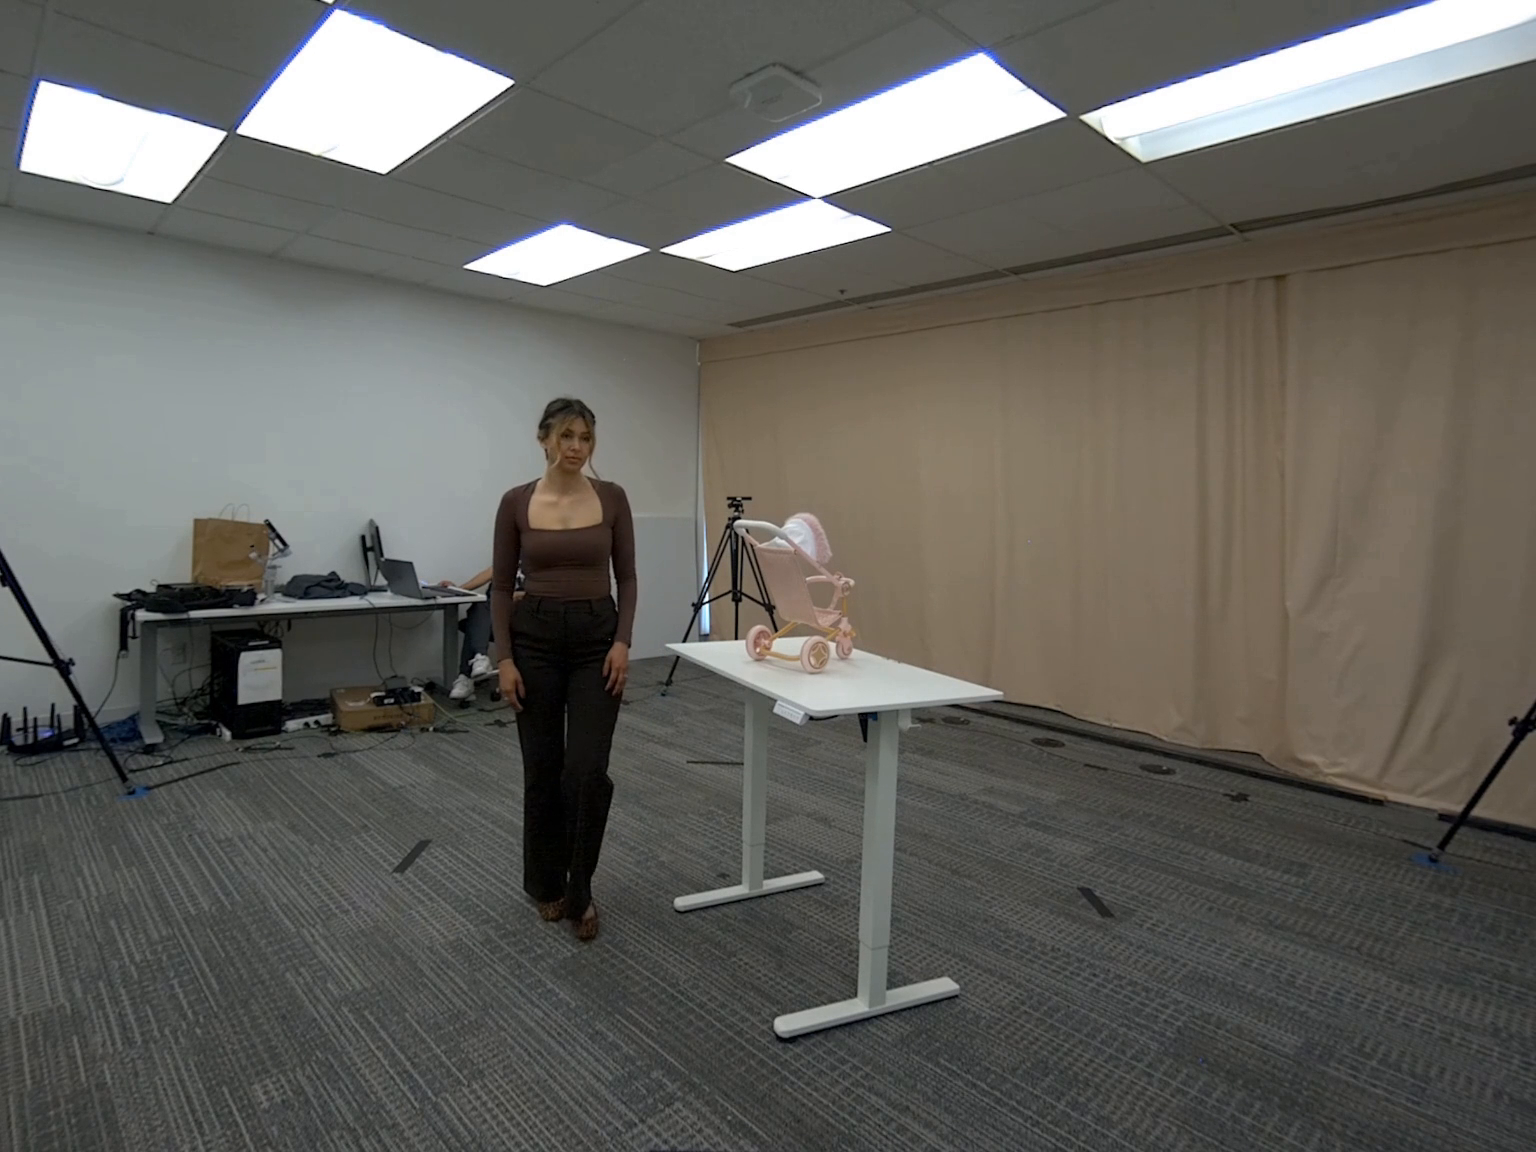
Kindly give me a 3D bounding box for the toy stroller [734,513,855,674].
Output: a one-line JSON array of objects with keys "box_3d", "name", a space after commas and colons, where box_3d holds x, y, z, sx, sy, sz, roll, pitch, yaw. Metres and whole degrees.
[{"box_3d": [0.108, 0.051, 2.590, 0.336, 0.530, 0.288, -18, 14, -34], "name": "toy stroller"}]
